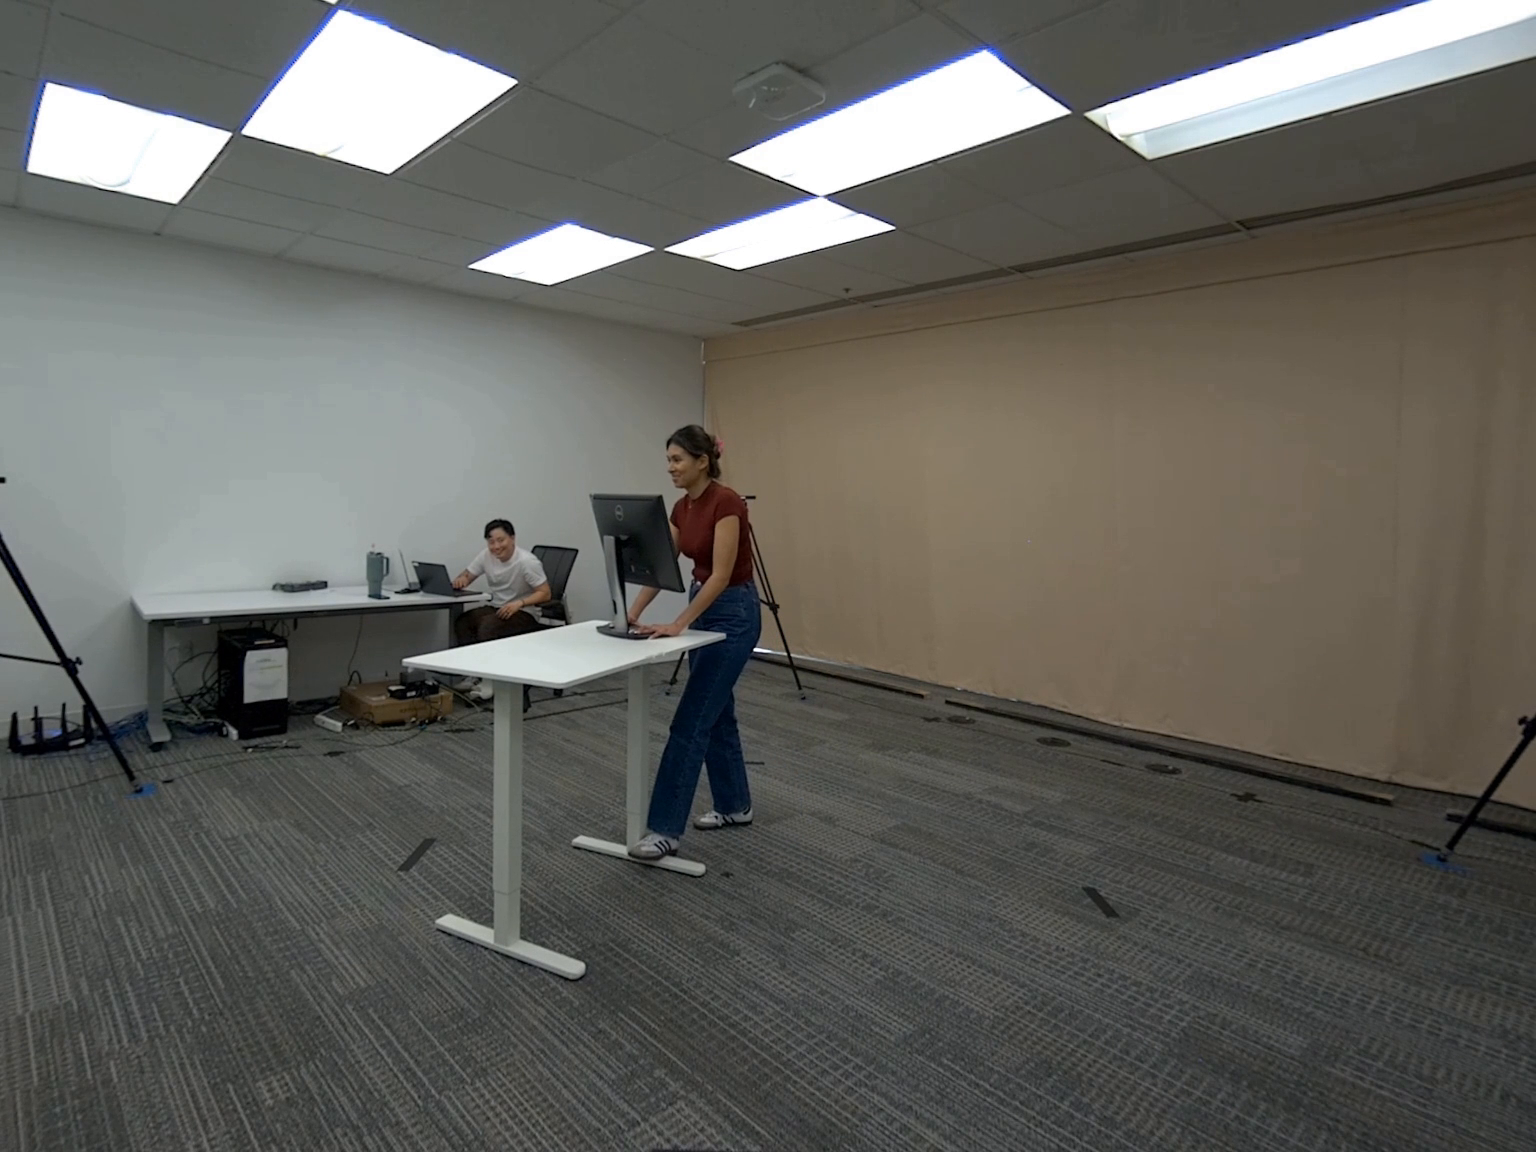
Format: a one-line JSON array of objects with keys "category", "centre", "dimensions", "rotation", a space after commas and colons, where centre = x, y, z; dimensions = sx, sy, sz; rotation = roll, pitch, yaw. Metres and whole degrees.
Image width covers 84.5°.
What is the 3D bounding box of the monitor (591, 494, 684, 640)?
[{"category": "monitor", "centre": [-0.522, -0.035, 3.081], "dimensions": [0.183, 0.520, 0.552], "rotation": [-6, 8, -38]}]
